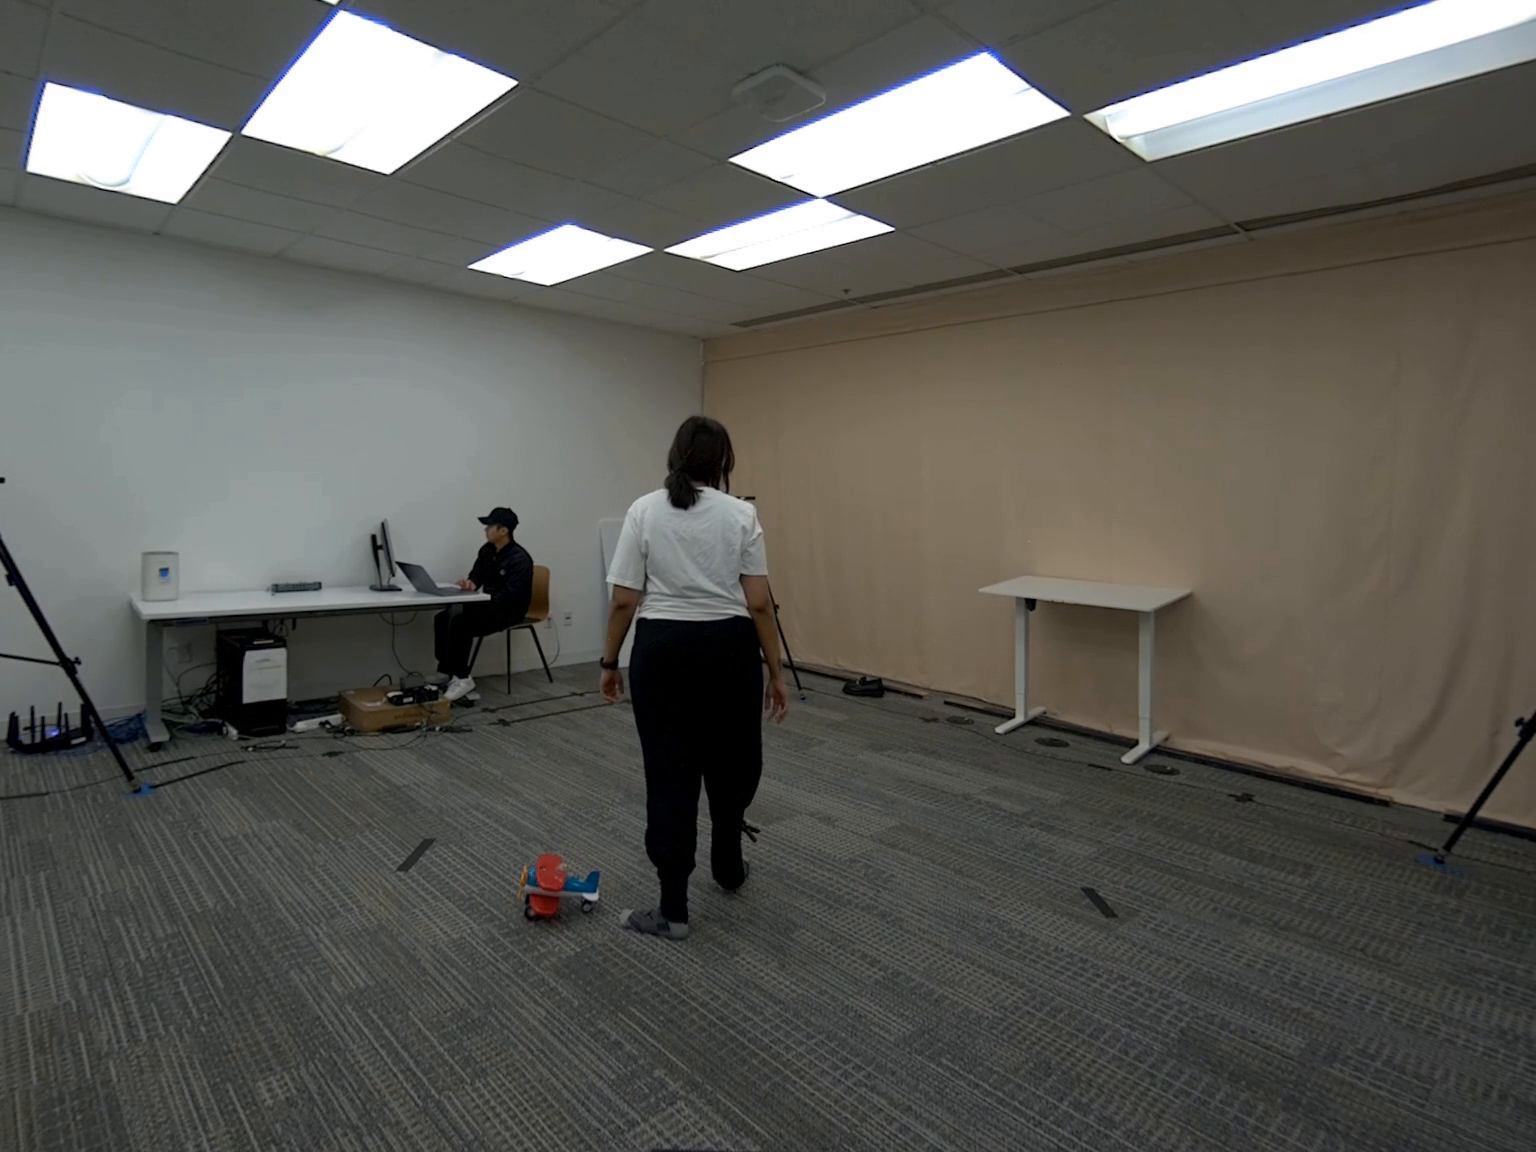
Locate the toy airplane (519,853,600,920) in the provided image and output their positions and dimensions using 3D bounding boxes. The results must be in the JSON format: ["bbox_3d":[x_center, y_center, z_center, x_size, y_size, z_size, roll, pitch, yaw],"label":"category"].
[{"bbox_3d":[-0.705,1.039,2.821,0.253,0.156,0.257,-3,6,-40],"label":"toy airplane"}]
